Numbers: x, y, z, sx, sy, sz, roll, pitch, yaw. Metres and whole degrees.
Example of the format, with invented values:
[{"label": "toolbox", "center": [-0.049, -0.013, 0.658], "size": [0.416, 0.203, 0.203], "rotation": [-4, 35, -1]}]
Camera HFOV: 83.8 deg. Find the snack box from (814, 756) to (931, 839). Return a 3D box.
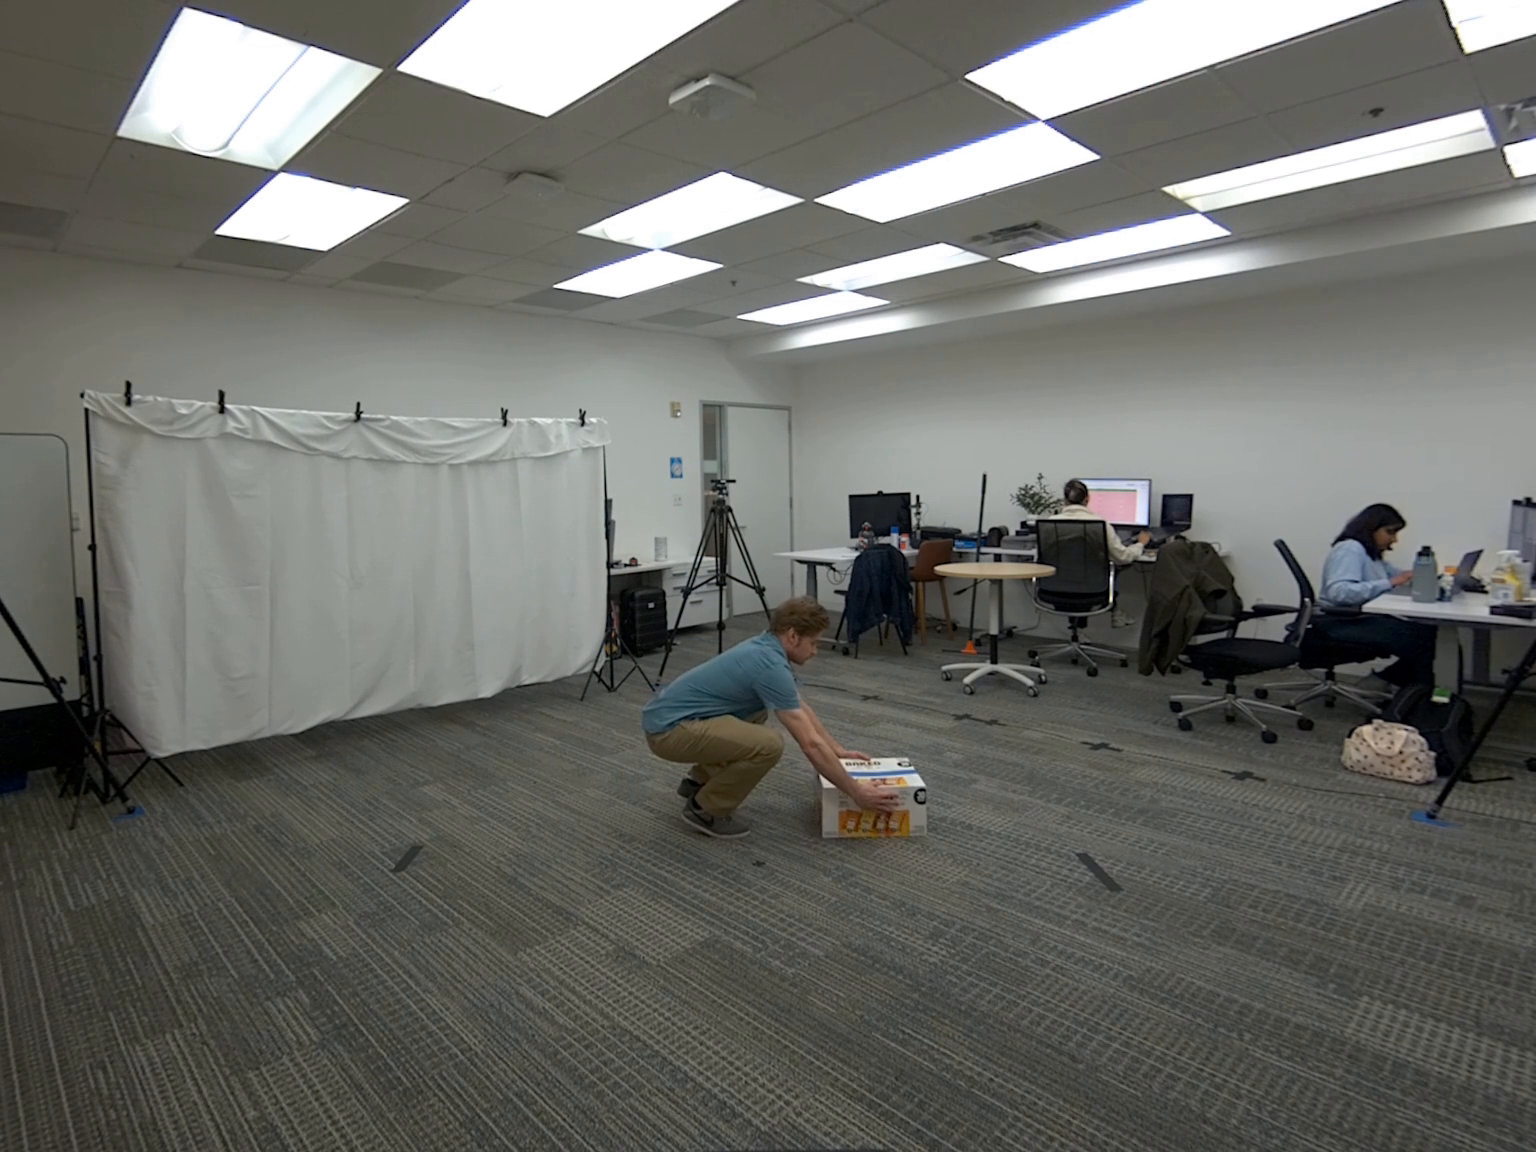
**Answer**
[{"label": "snack box", "center": [0.411, 0.888, 3.474], "size": [0.405, 0.205, 0.342], "rotation": [-1, 6, -2]}]
